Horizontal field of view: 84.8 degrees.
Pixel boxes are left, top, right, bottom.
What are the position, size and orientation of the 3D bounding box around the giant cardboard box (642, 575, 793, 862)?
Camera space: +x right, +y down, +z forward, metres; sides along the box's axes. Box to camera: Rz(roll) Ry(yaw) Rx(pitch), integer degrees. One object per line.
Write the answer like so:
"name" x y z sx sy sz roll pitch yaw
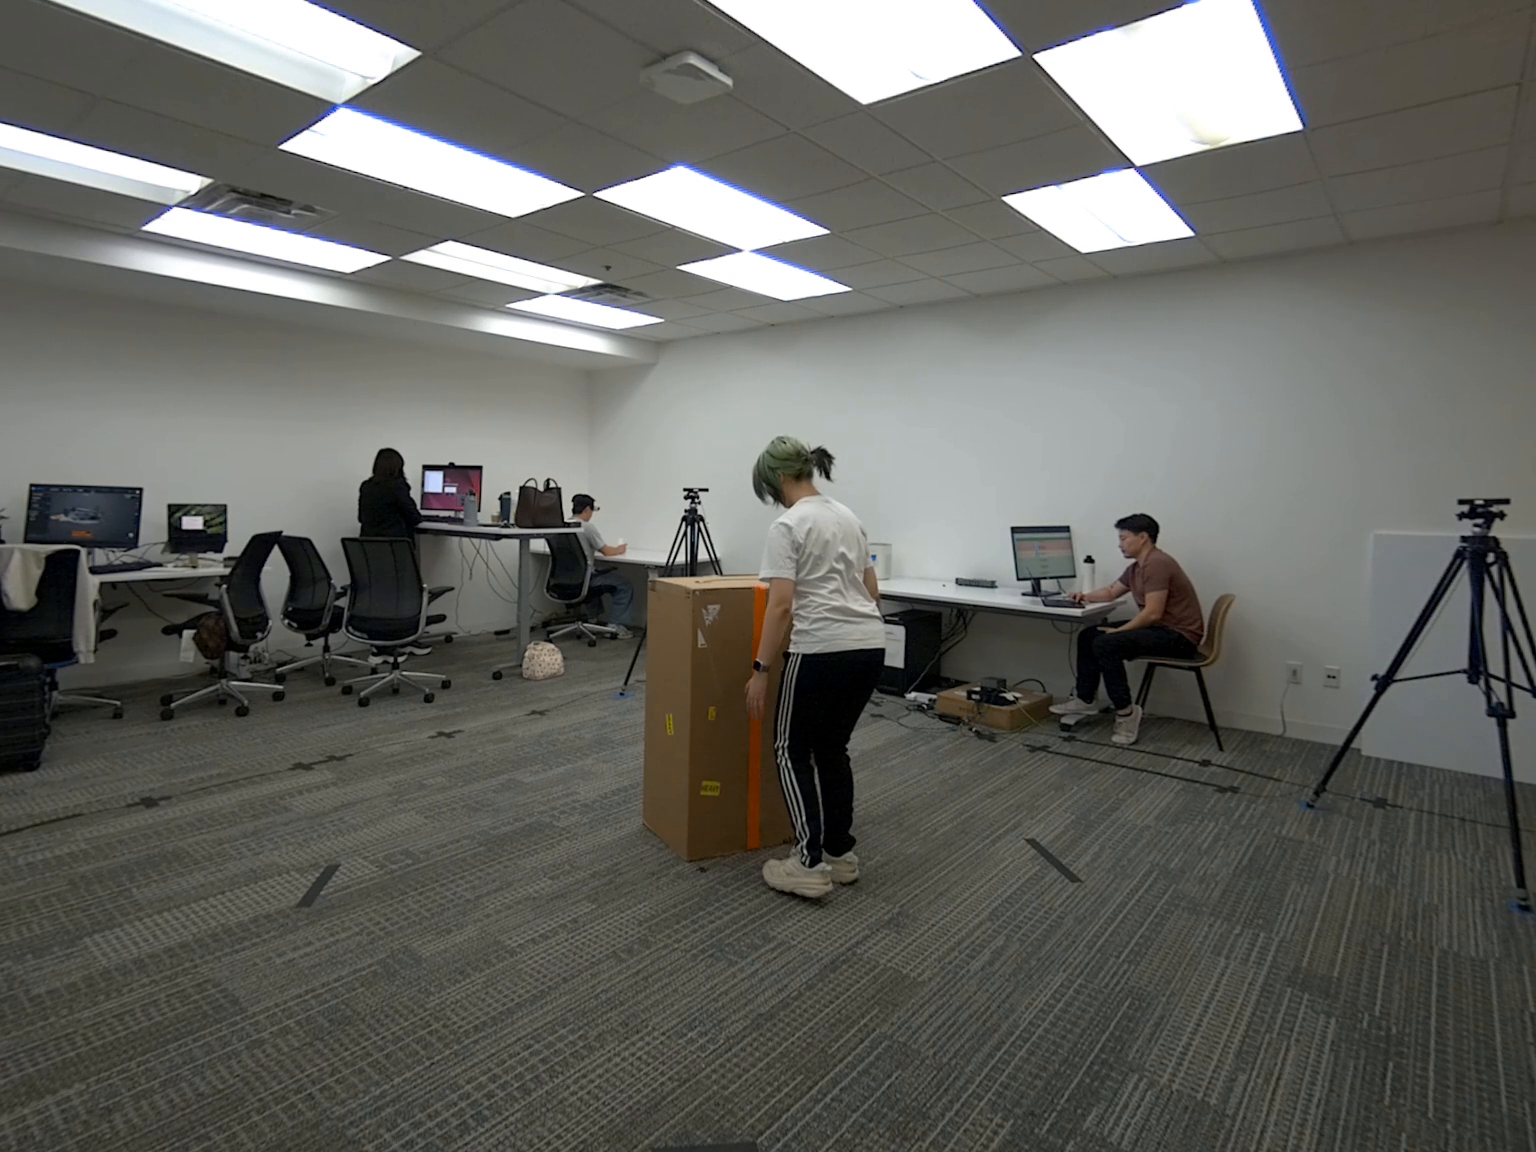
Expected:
"giant cardboard box" -0.166 0.527 3.457 0.562 1.023 0.439 0 3 -30
